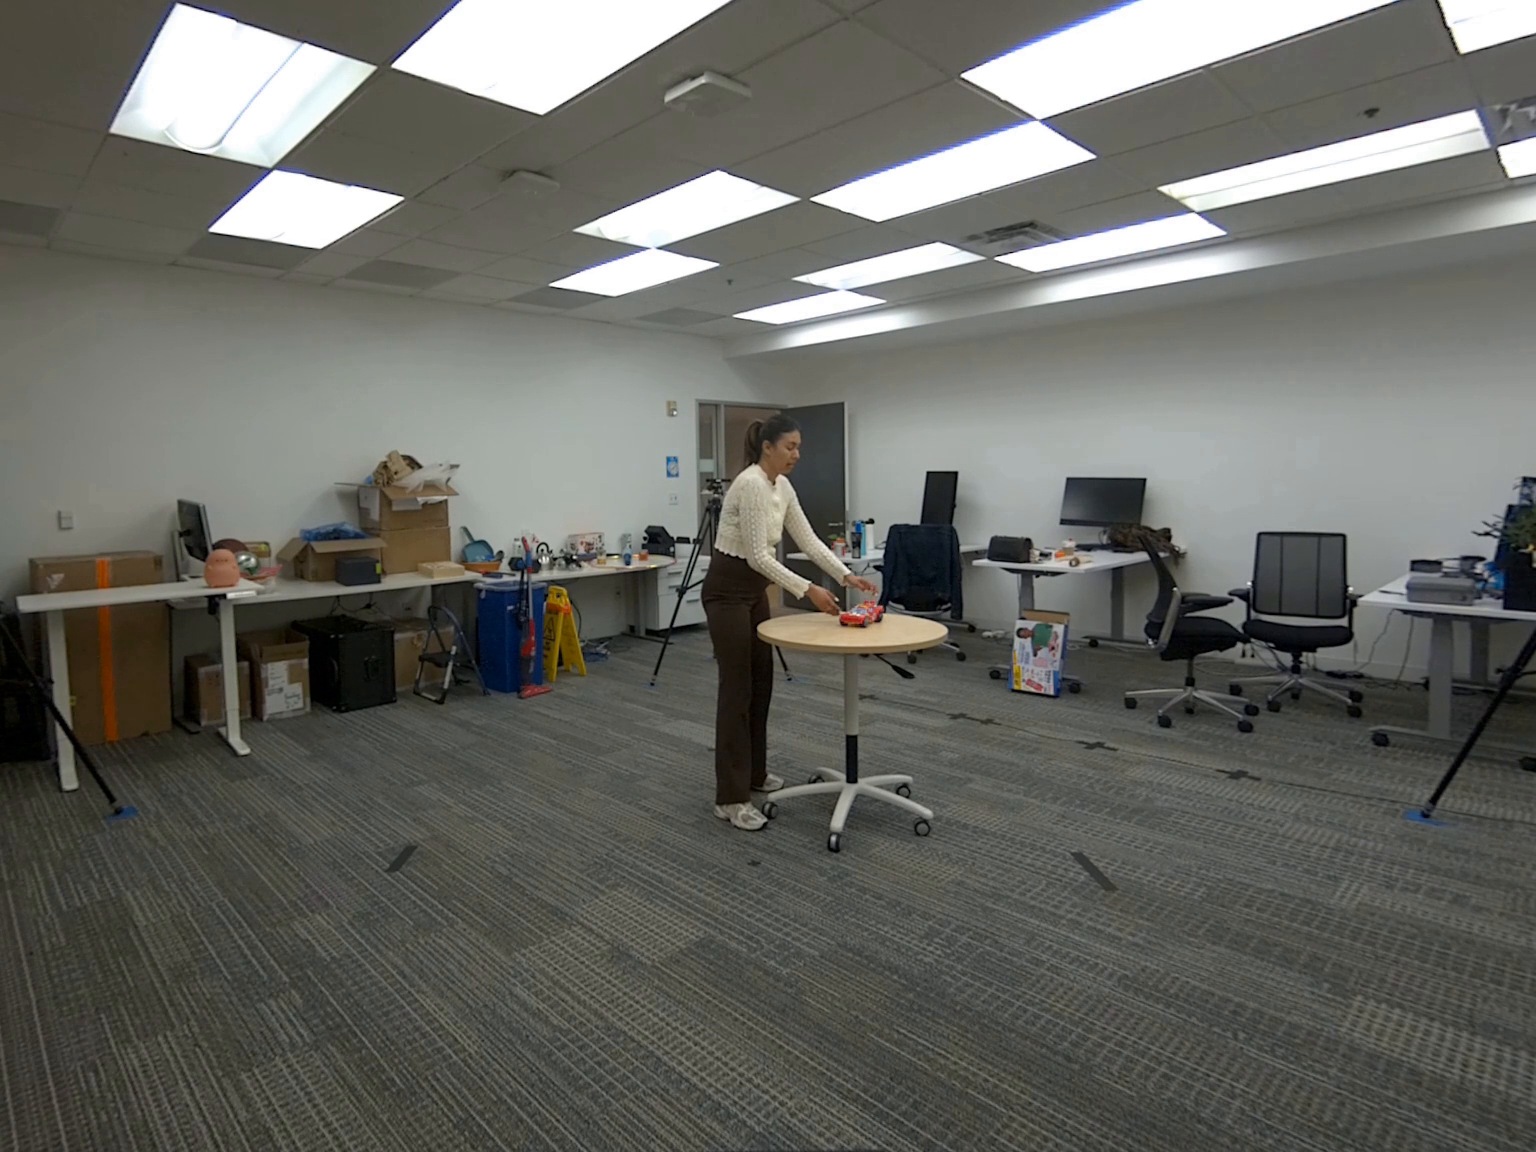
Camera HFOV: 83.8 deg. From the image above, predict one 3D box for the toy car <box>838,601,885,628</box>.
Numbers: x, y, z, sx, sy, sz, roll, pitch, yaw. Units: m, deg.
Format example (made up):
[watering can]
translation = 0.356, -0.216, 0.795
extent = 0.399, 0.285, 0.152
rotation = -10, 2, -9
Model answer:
[toy car]
translation = 0.402, 0.166, 3.586
extent = 0.134, 0.082, 0.251
rotation = 2, 18, 31
